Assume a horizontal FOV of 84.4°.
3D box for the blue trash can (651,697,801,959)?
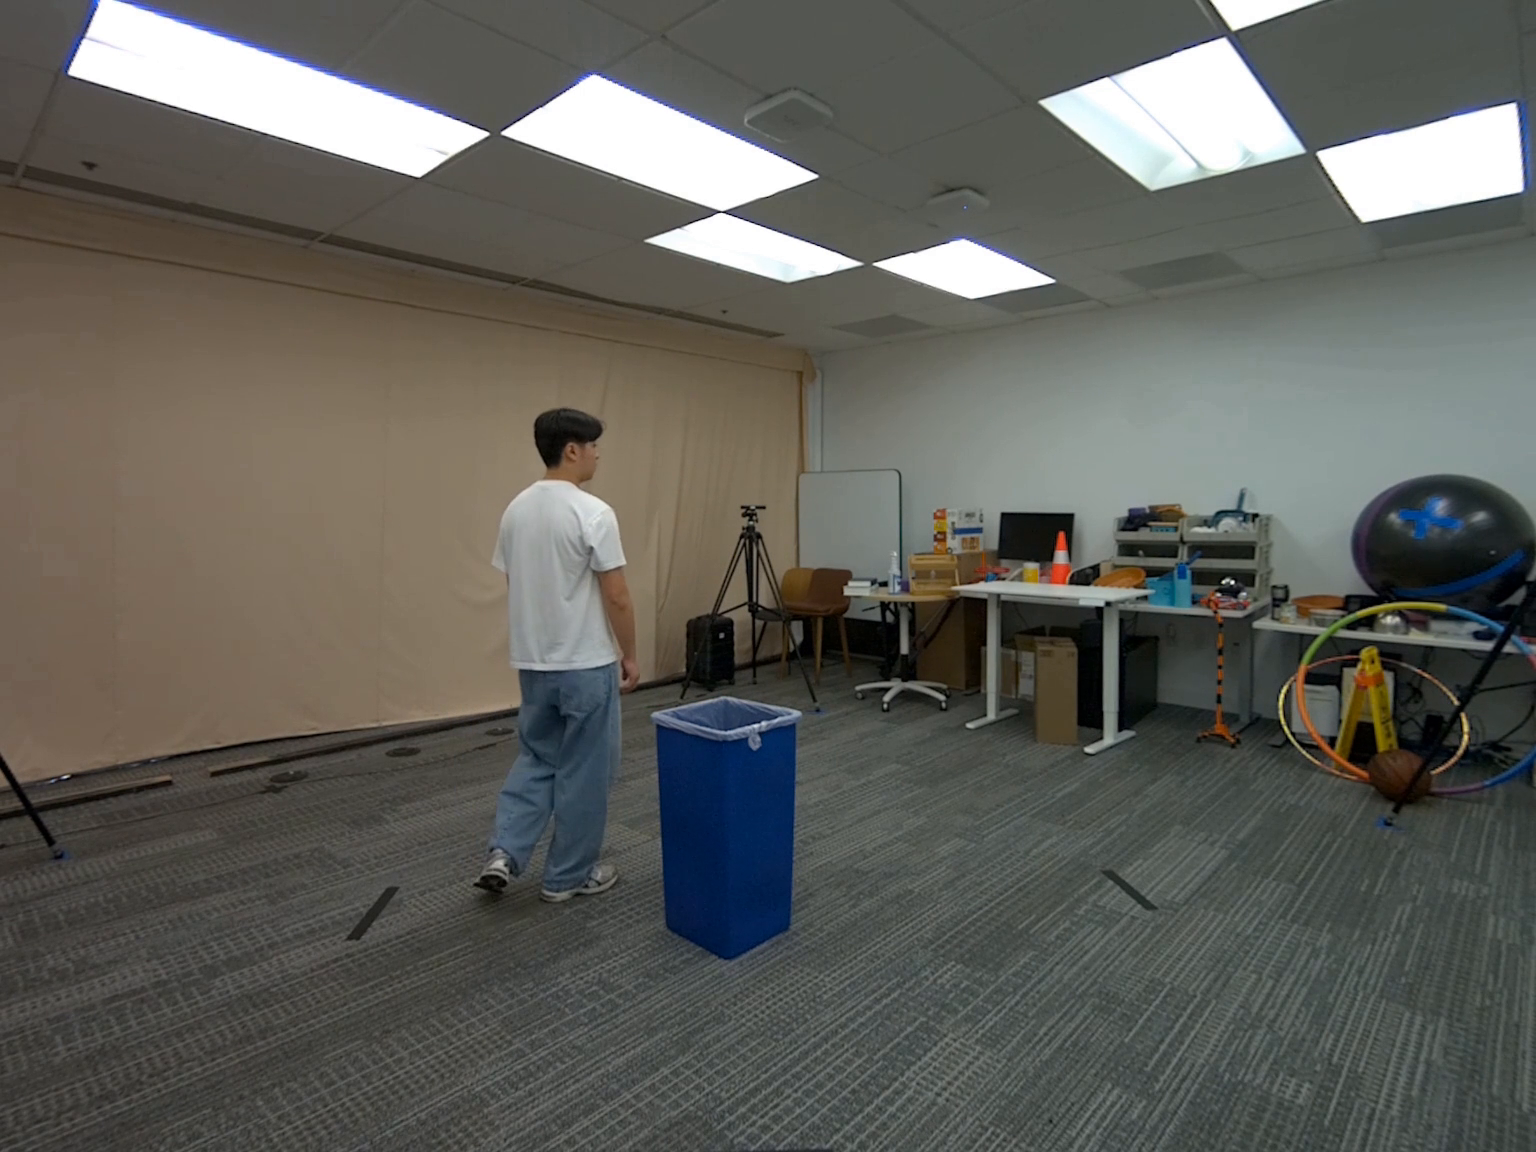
[{"bbox_3d":[-0.139,0.805,2.767,0.386,0.712,0.366,3,4,44],"label":"blue trash can"}]
